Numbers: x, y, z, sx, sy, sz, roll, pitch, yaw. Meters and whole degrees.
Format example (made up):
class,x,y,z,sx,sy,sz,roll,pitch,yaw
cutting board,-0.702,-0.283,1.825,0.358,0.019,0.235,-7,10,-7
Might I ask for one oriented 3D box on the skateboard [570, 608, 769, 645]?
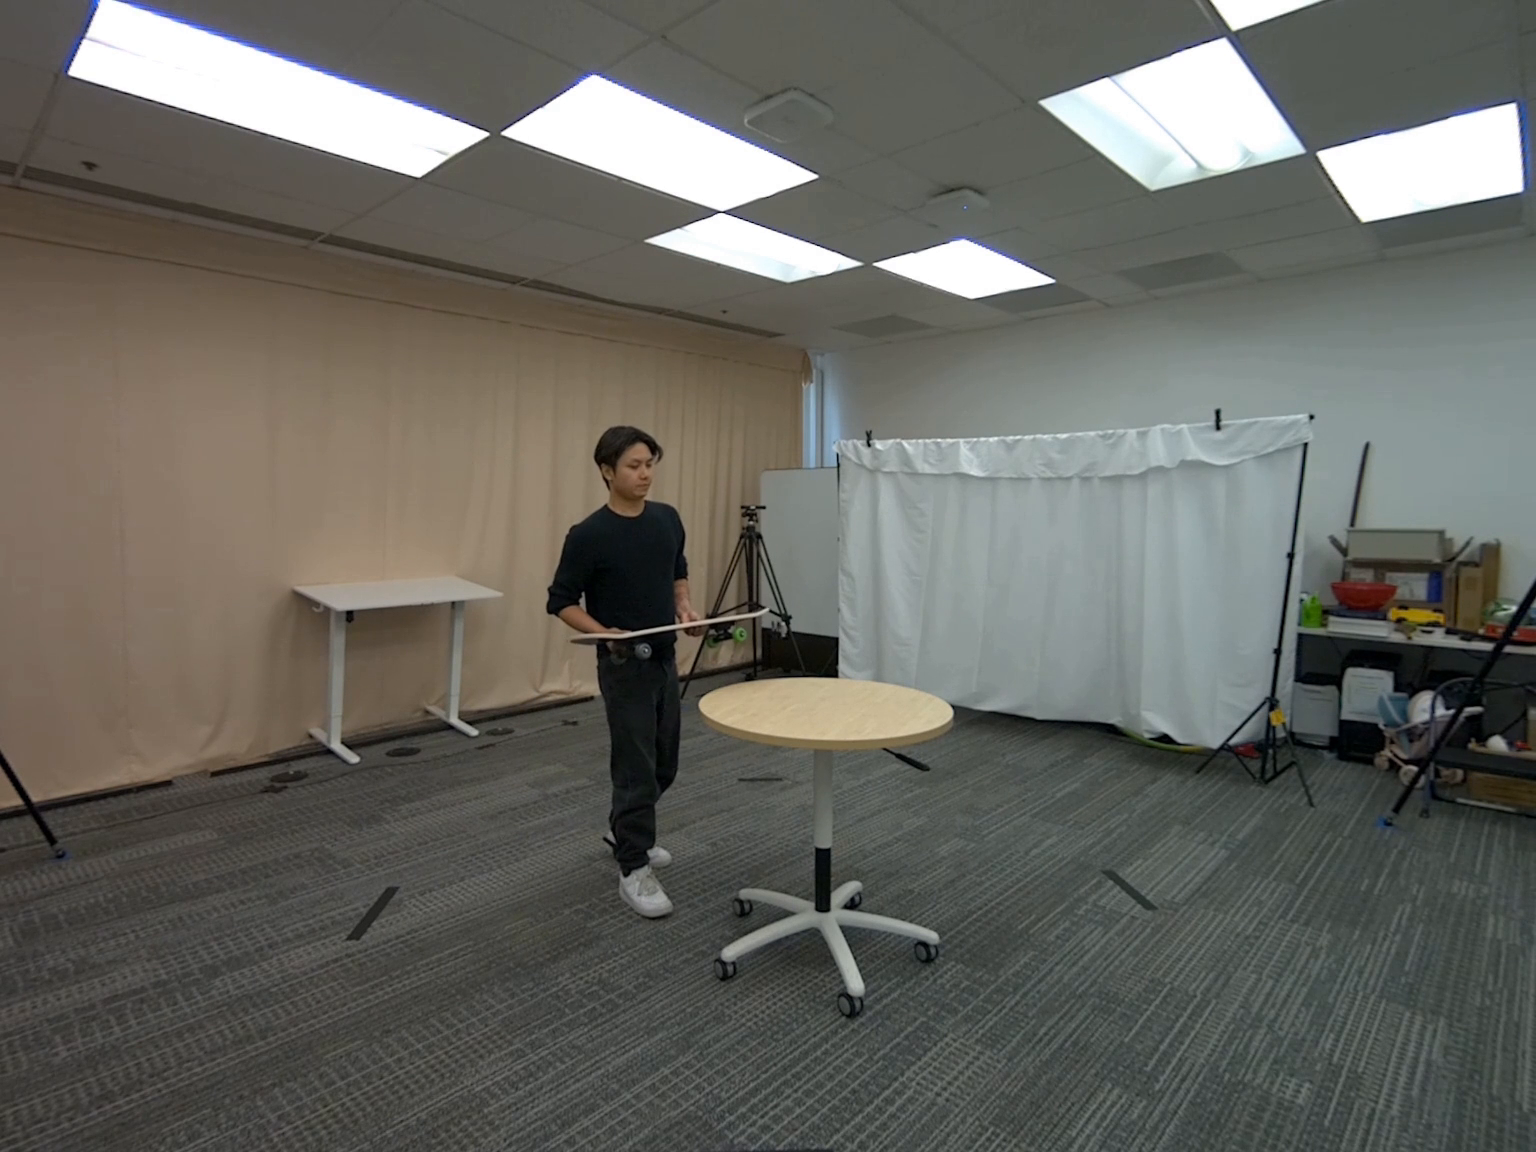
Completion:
class,x,y,z,sx,sy,sz,roll,pitch,yaw
skateboard,-0.314,0.215,2.831,0.762,0.111,0.198,-6,-10,-44
